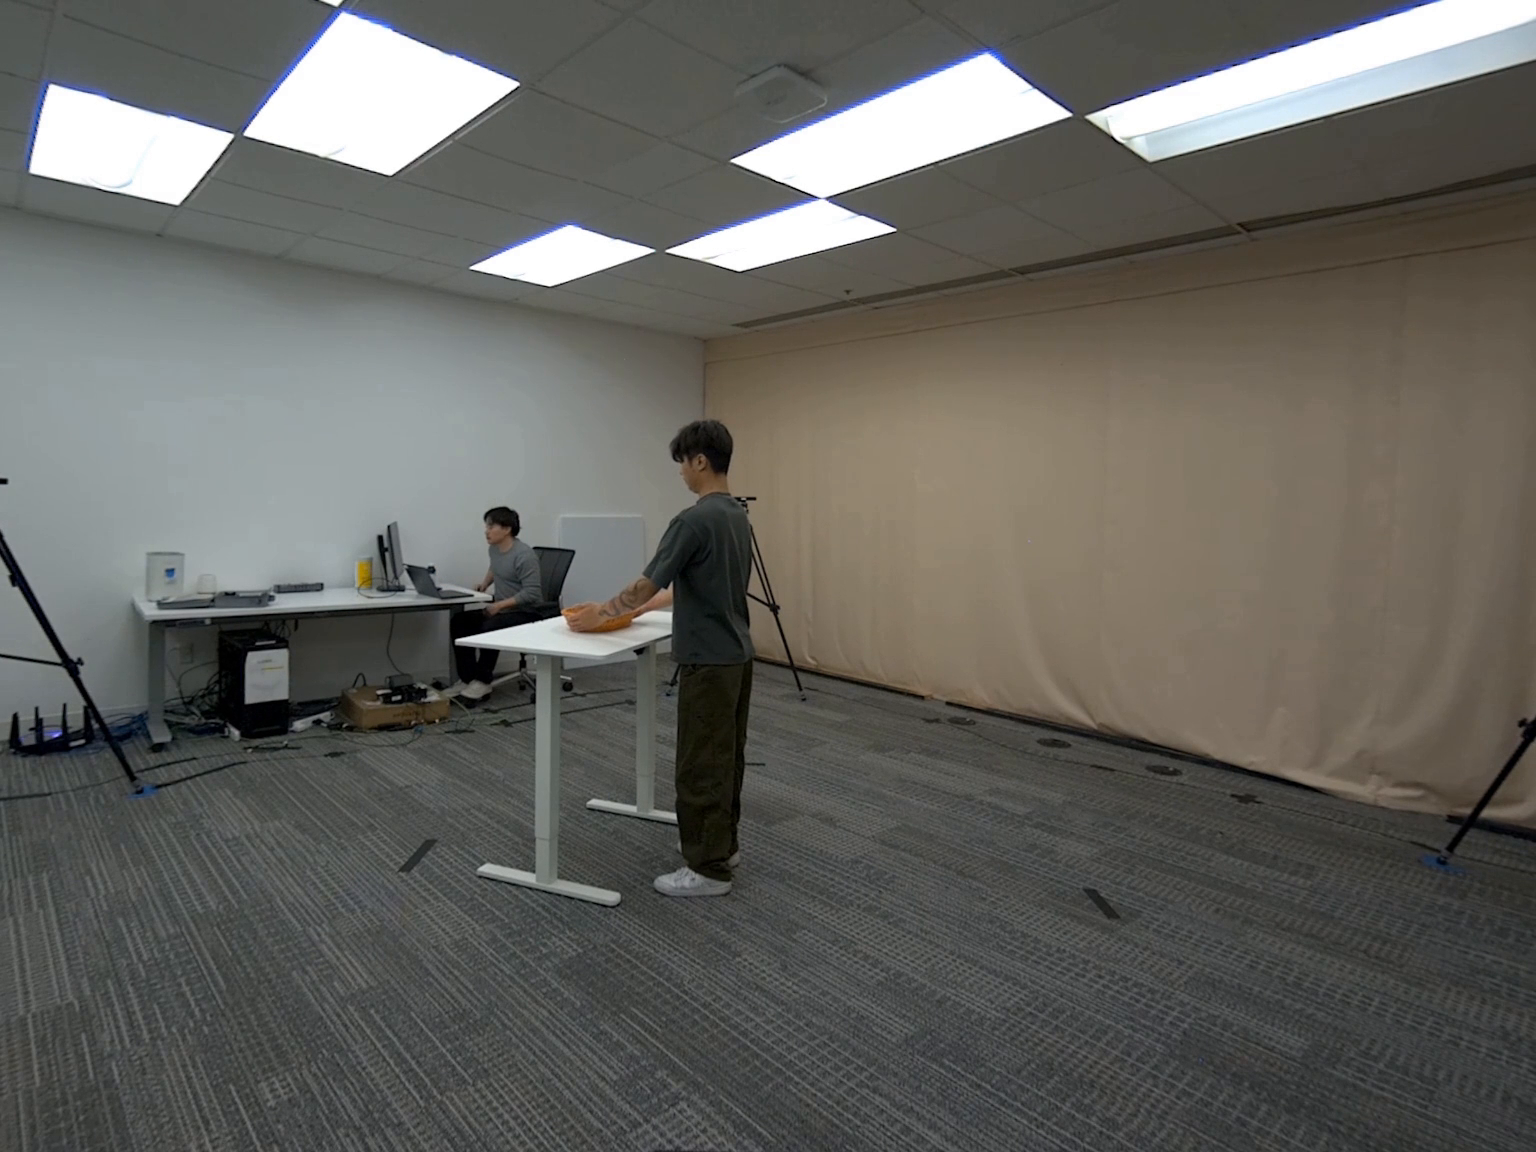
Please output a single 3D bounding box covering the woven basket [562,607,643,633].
[{"bbox_3d":[-0.642,0.164,3.266,0.257,0.073,0.344,3,6,27],"label":"woven basket"}]
